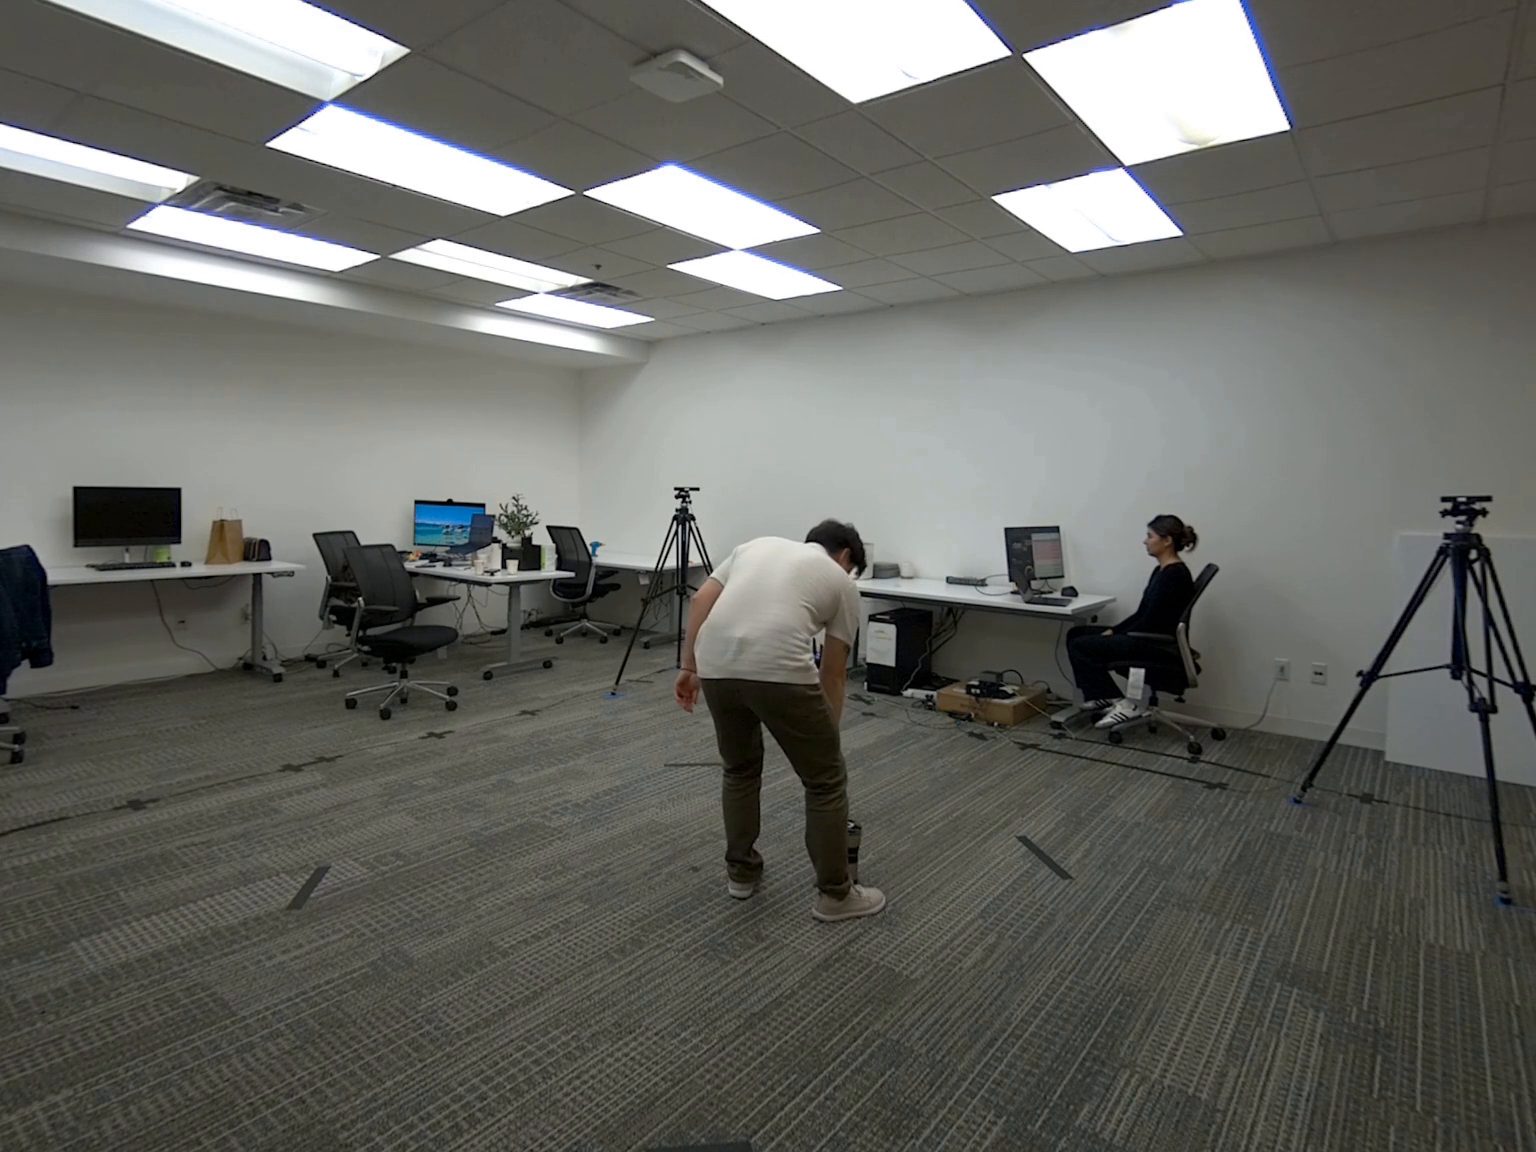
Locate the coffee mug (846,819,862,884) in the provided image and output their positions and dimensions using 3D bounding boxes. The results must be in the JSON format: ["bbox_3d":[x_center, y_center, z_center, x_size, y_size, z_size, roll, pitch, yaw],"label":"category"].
[{"bbox_3d":[0.268,0.989,3.047,0.126,0.201,0.086,7,10,30],"label":"coffee mug"}]
